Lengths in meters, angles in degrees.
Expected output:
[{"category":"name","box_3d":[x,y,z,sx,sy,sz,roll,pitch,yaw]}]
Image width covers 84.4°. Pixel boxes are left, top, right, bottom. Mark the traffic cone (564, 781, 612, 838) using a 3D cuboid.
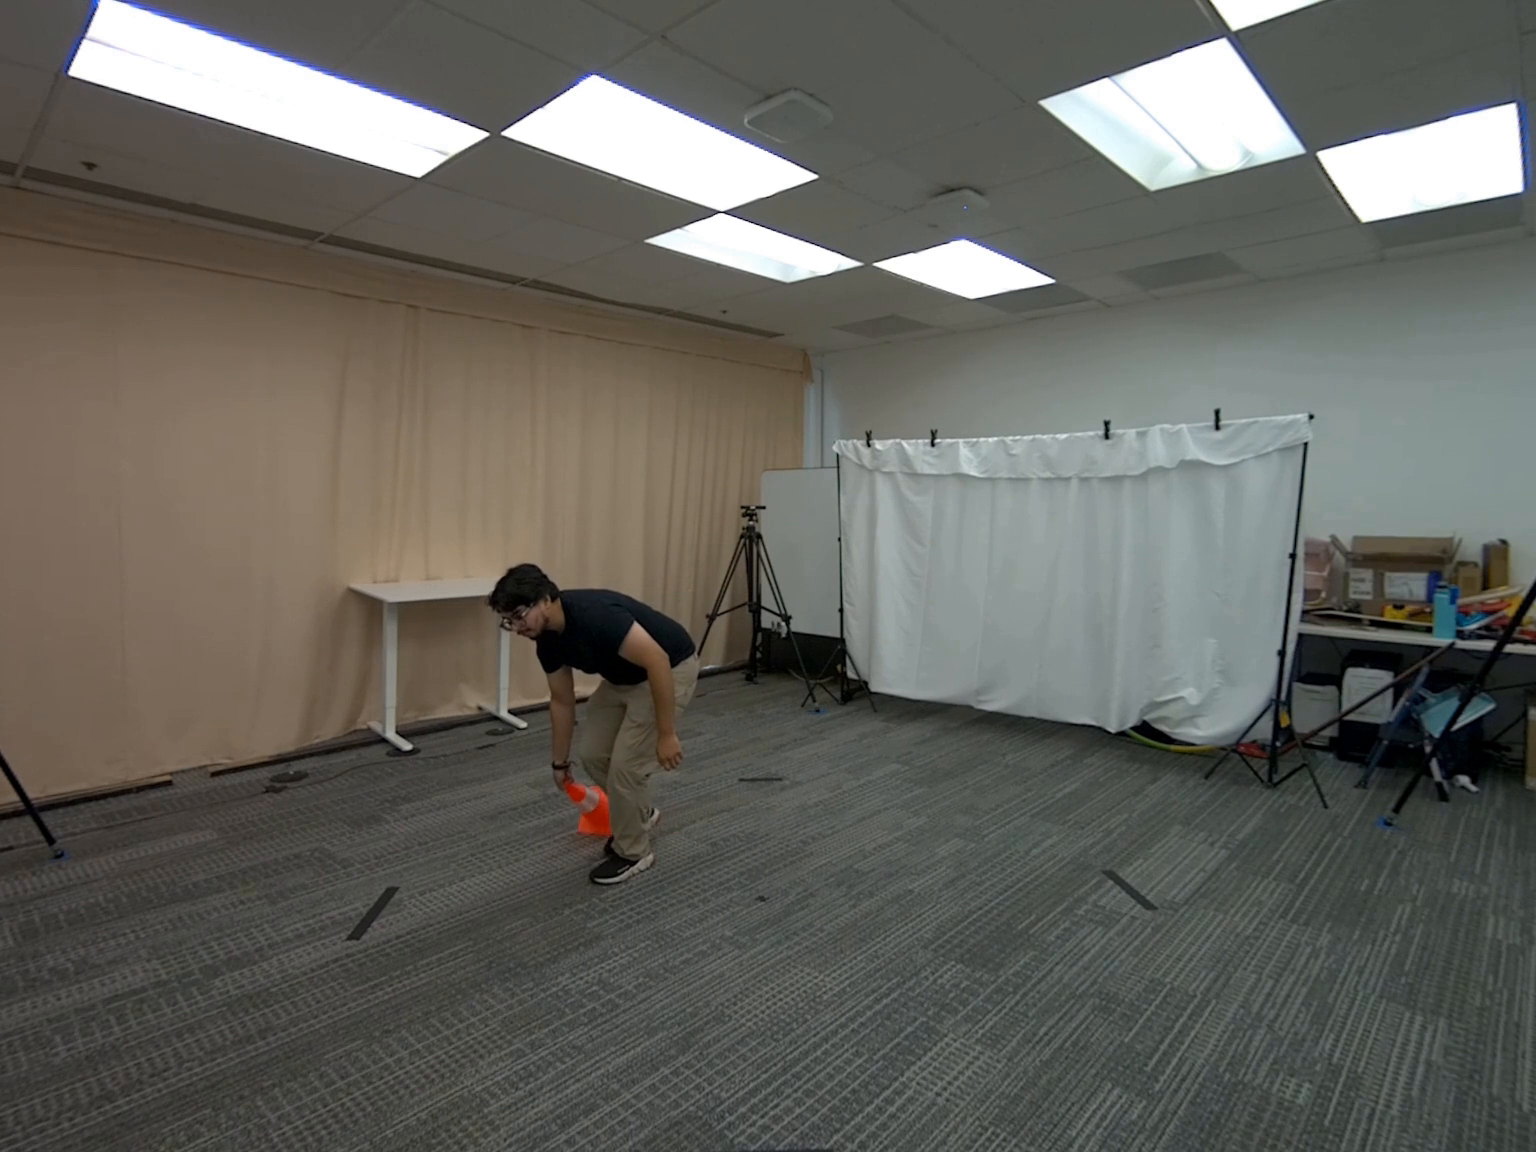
[{"category":"traffic cone","box_3d":[-0.757,0.922,3.487,0.208,0.206,0.372,7,-29,20]}]
